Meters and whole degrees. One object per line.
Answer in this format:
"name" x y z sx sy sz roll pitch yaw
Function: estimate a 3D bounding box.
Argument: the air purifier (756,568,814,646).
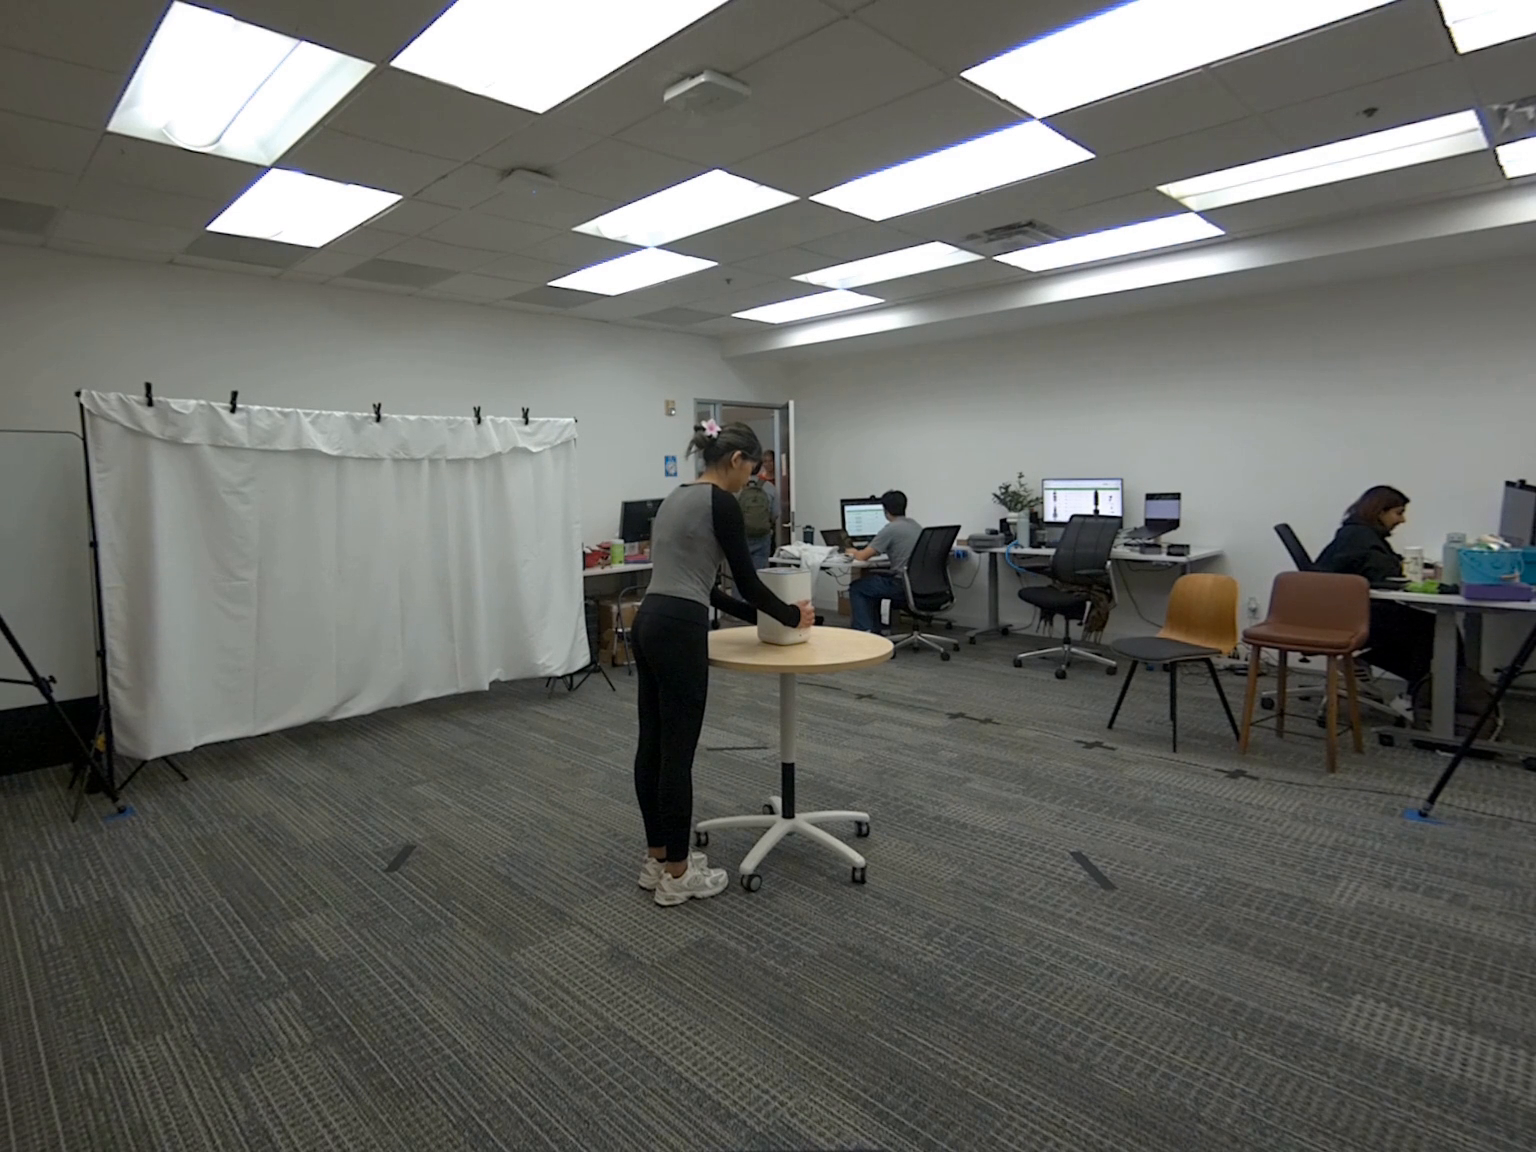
"air purifier" 0.063 0.111 3.144 0.166 0.264 0.177 -5 7 -42
